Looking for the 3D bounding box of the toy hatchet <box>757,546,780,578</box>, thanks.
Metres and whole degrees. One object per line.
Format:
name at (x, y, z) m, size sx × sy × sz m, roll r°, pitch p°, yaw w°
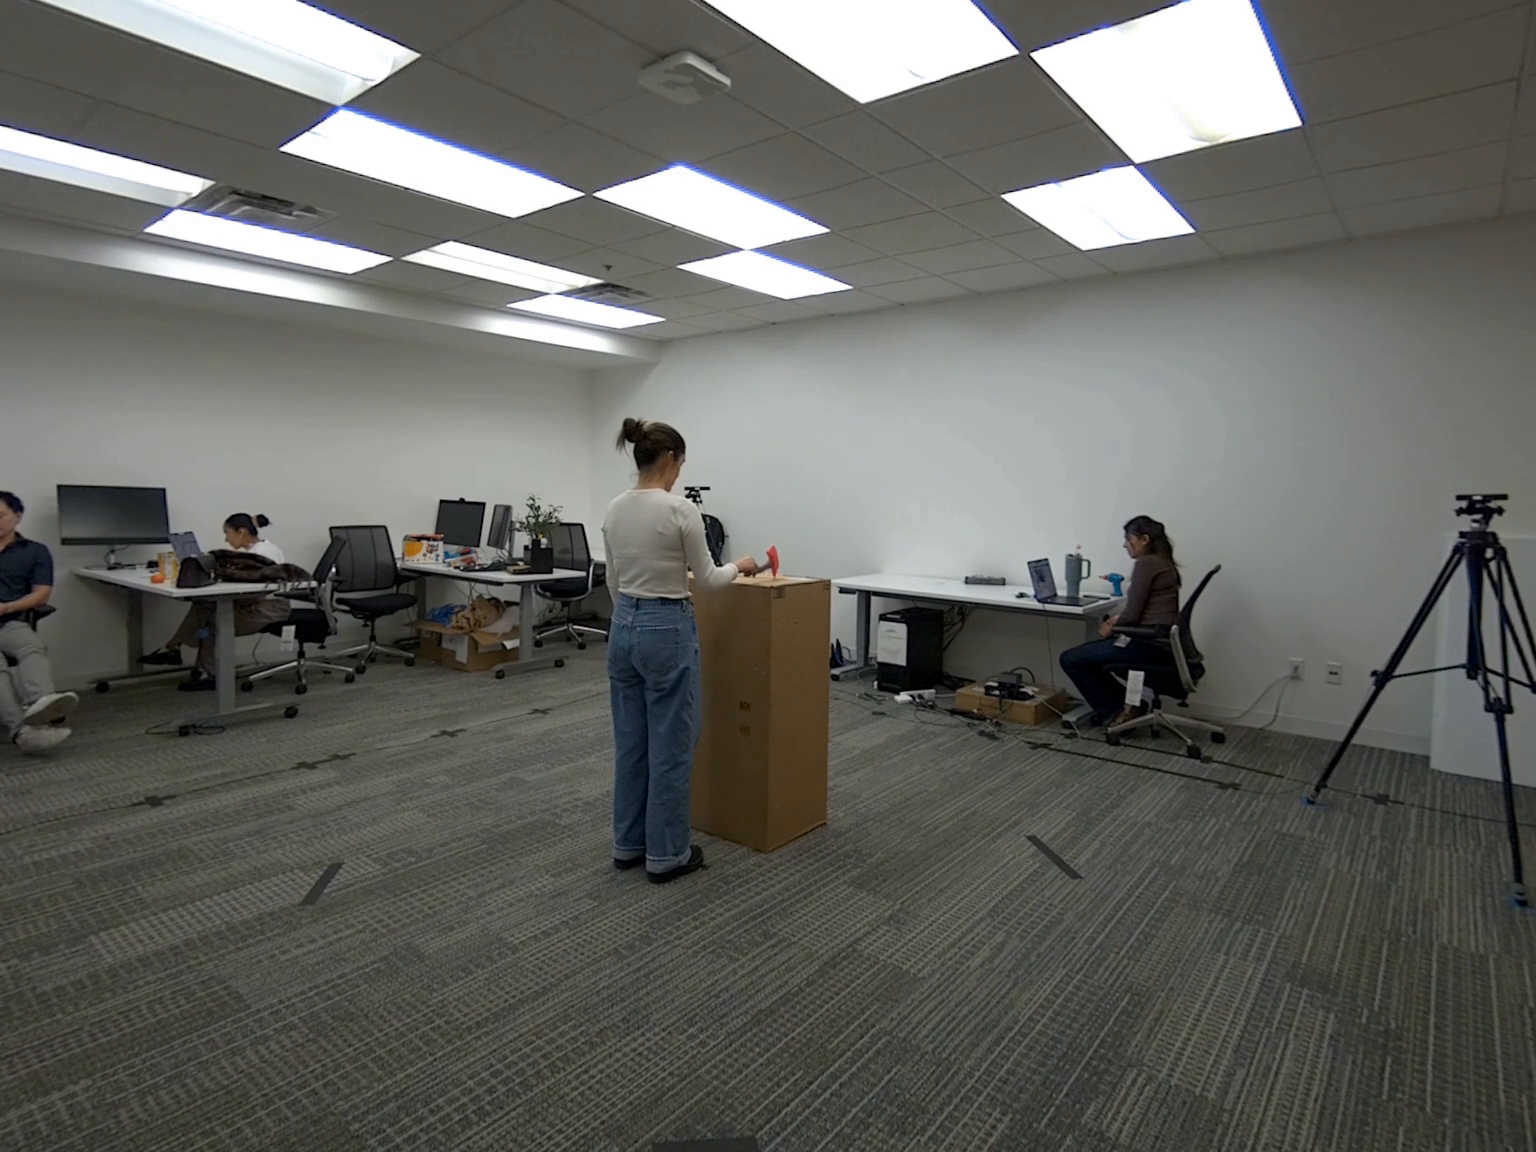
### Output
toy hatchet at (-0.029, -0.071, 3.365) m, size 0.030 × 0.131 × 0.262 m, roll 7°, pitch 0°, yaw 26°
